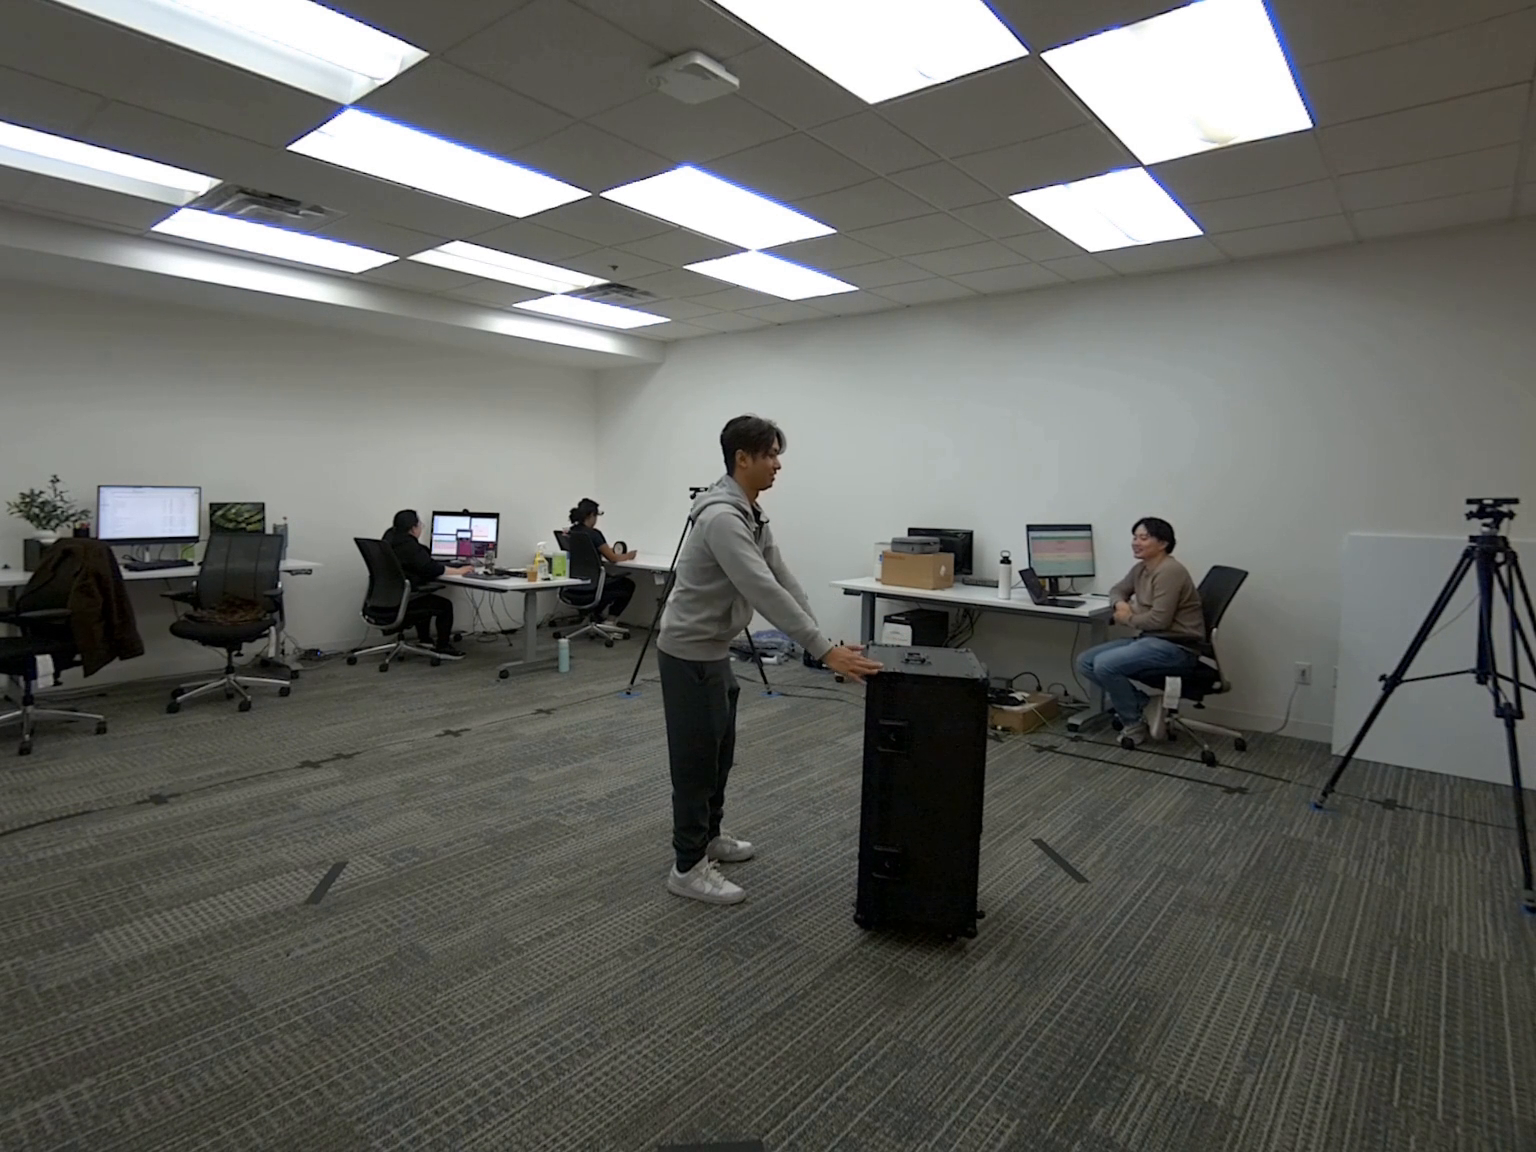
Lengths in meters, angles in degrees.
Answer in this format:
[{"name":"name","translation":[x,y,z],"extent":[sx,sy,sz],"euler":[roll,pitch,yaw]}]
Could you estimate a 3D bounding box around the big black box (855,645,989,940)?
[{"name":"big black box","translation":[0.493,0.696,2.774],"extent":[0.401,0.859,0.517],"euler":[3,4,9]}]
